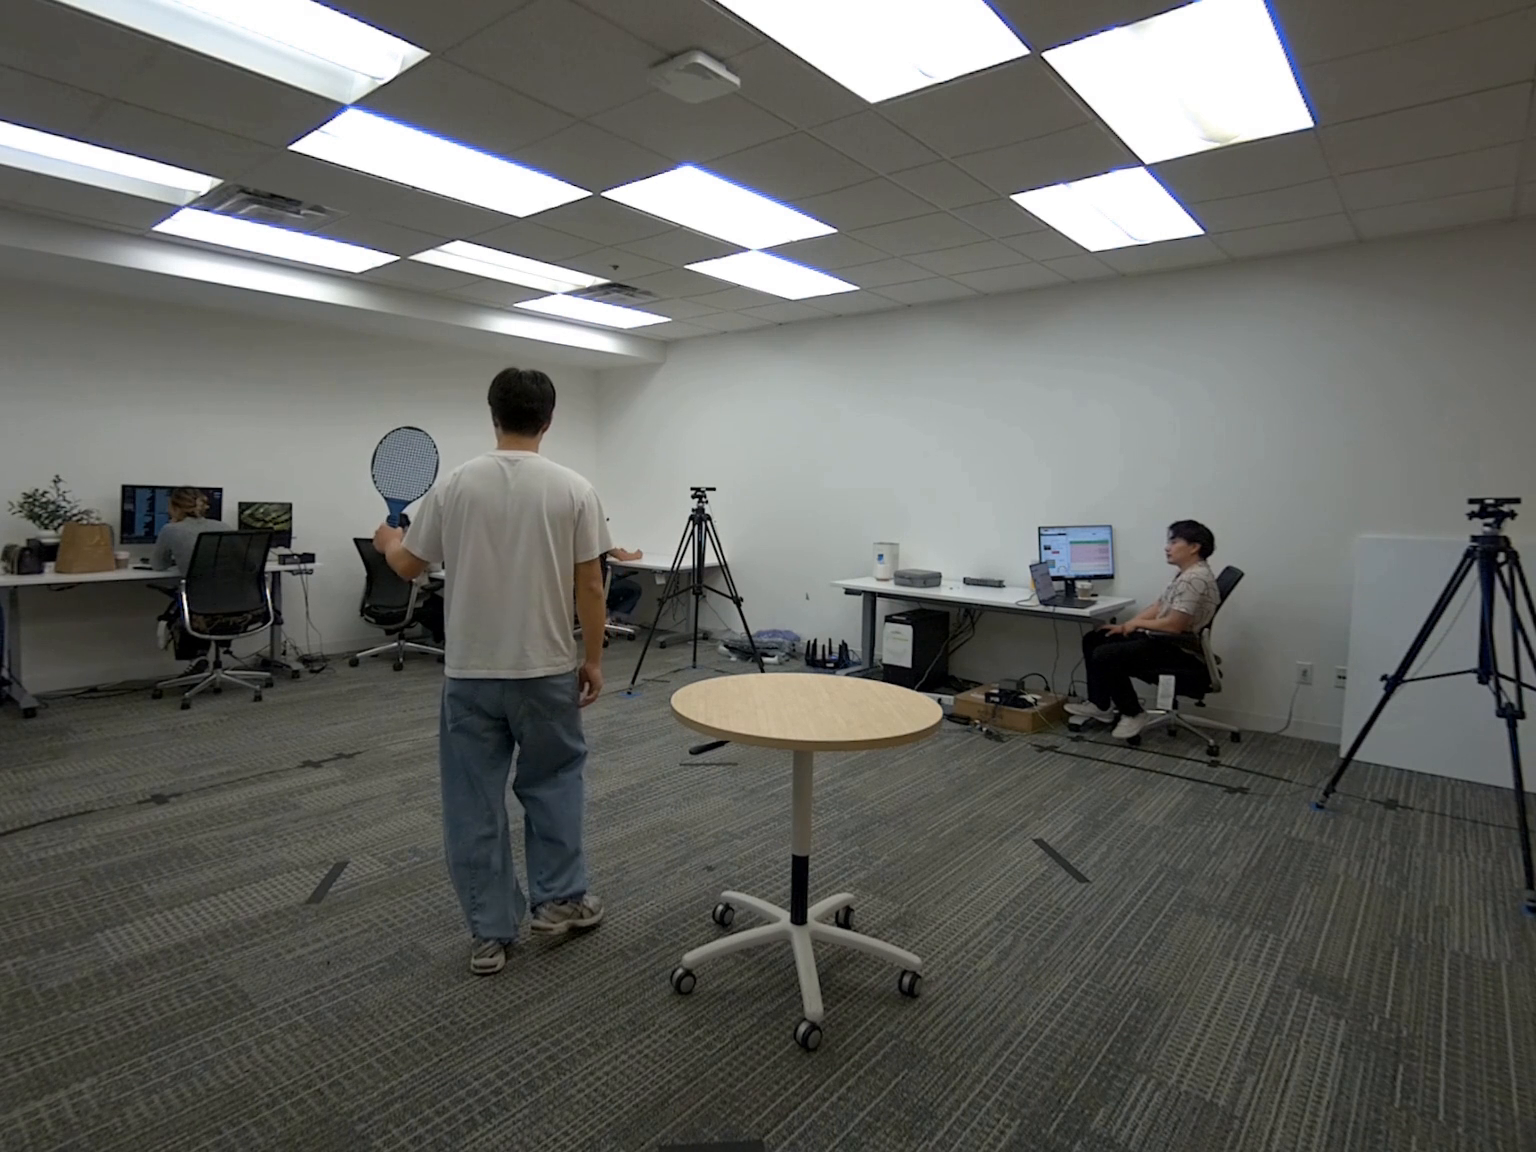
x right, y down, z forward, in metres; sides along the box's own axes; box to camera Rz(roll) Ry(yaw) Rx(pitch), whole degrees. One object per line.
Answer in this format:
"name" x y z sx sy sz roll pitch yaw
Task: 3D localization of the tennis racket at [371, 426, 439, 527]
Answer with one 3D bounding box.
"tennis racket" -1.227 -0.302 2.812 0.211 0.438 0.032 11 -14 -9
